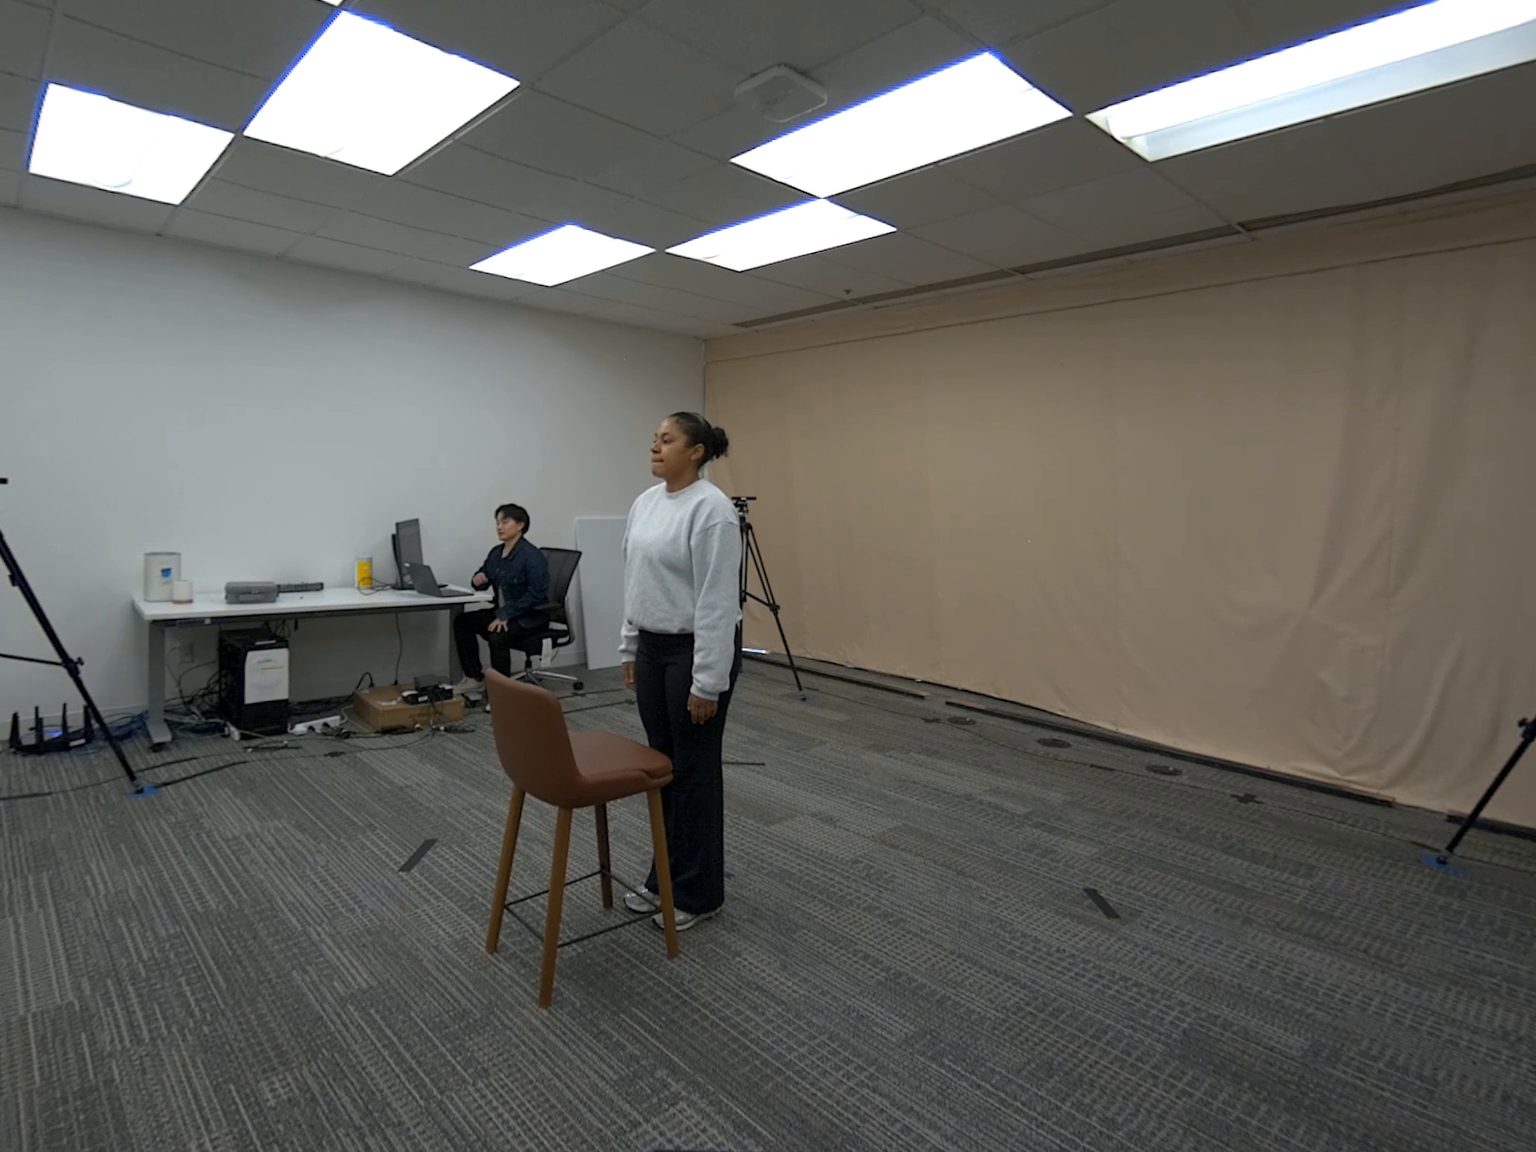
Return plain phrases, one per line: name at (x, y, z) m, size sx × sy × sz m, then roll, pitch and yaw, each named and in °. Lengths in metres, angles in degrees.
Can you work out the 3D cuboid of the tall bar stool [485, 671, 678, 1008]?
tall bar stool at (-0.566, 0.710, 2.535) m, size 0.457 × 0.887 × 0.468 m, roll -4°, pitch 5°, yaw -41°
